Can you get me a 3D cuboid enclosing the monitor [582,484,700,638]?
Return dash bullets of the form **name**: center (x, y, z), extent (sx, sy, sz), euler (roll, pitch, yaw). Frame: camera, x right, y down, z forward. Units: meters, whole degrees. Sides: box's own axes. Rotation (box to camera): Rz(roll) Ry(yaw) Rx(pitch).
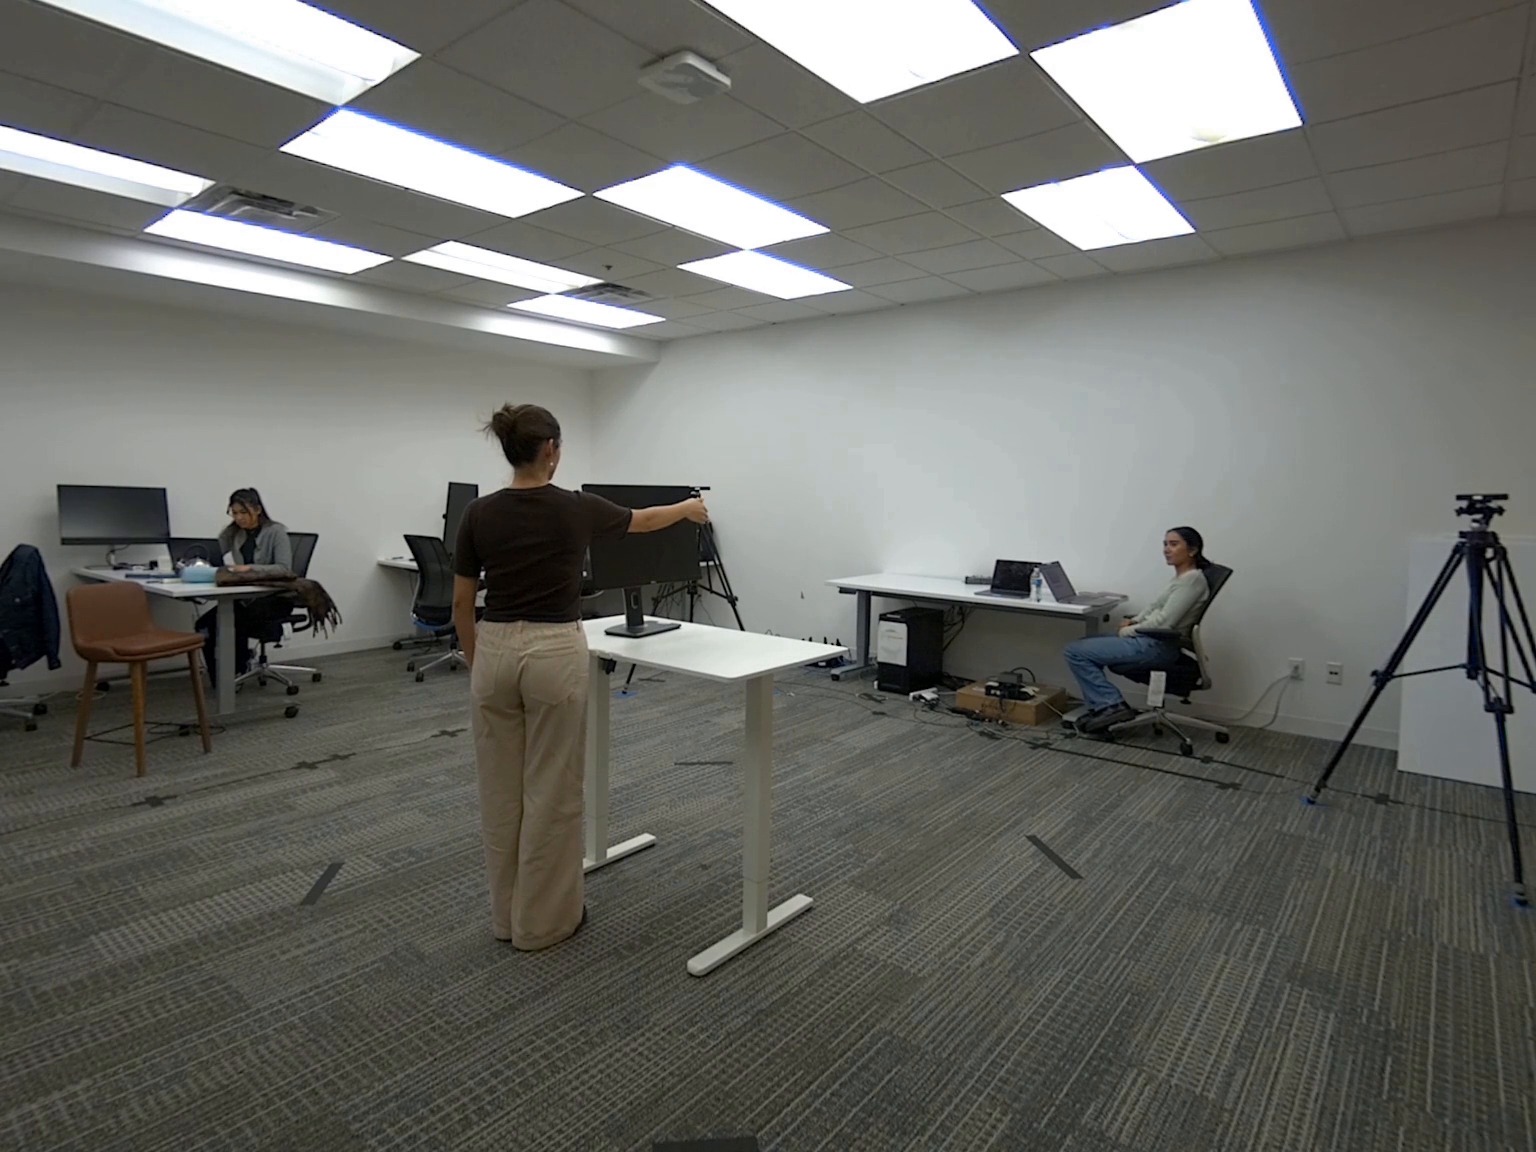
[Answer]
- **monitor**: center (-0.456, -0.059, 2.980), extent (0.193, 0.521, 0.524), euler (4, 5, 36)
